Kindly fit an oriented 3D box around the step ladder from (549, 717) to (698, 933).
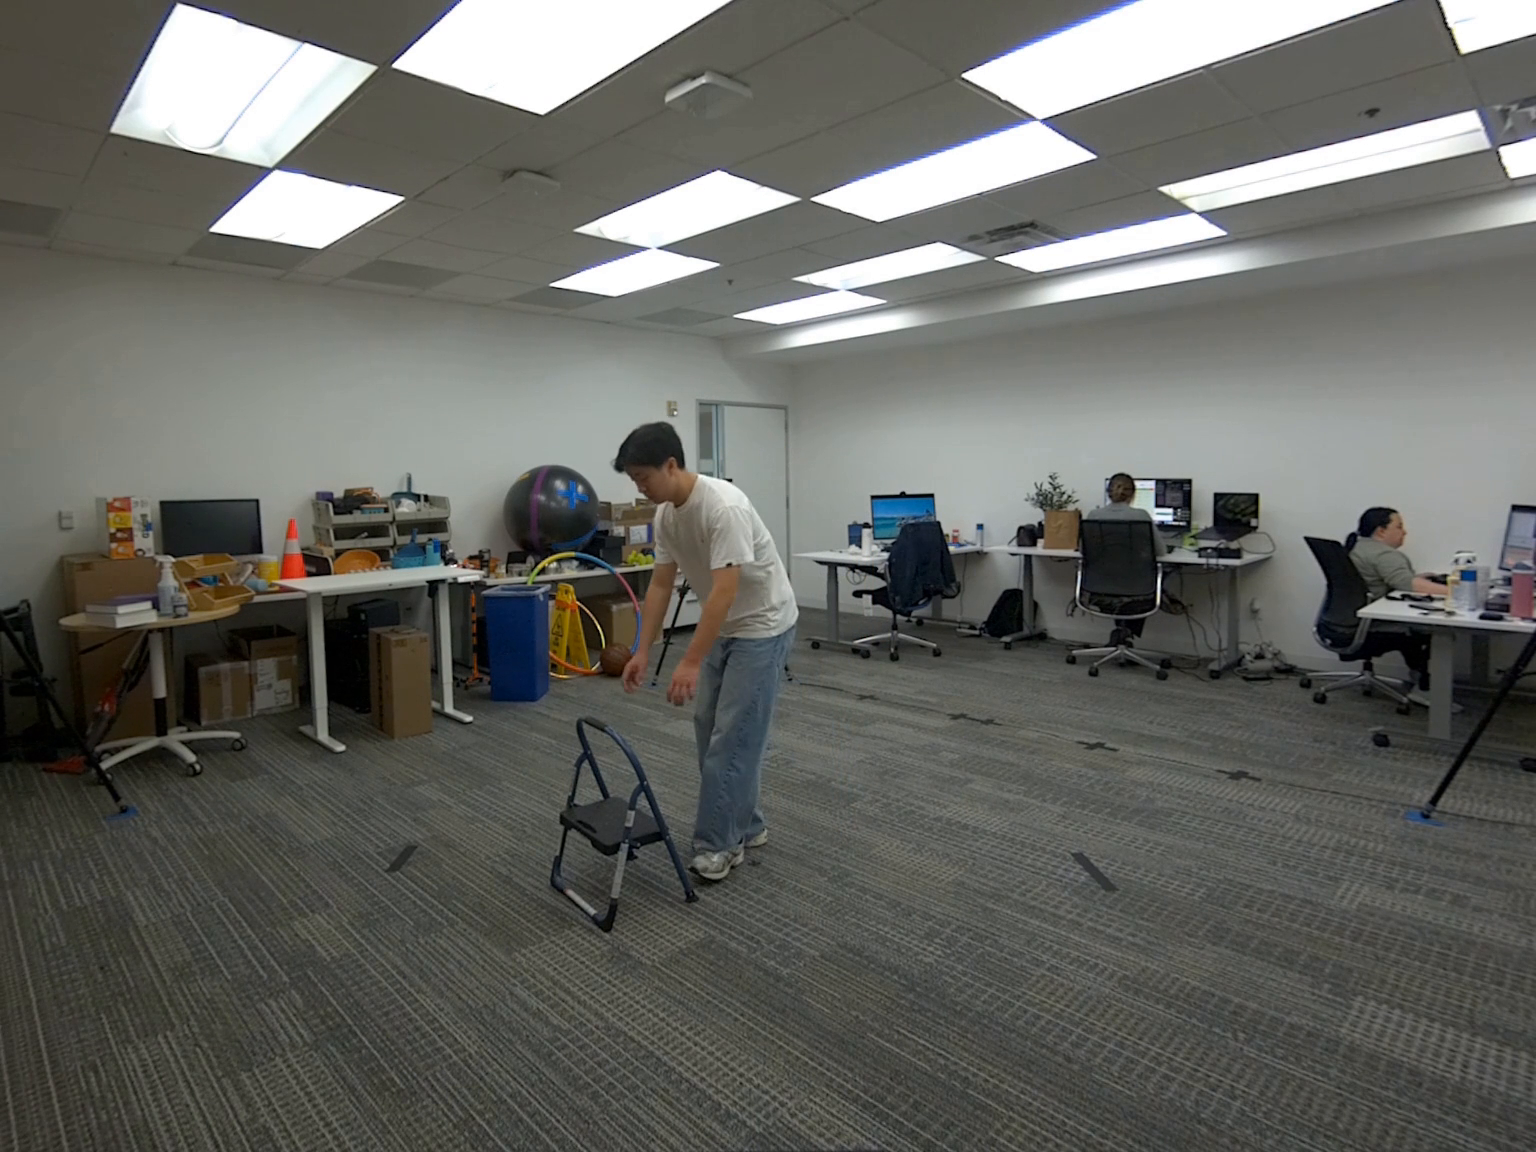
[{"bbox_3d":[-0.500,0.774,2.890,0.340,0.604,0.444,-4,6,-38],"label":"step ladder"}]
